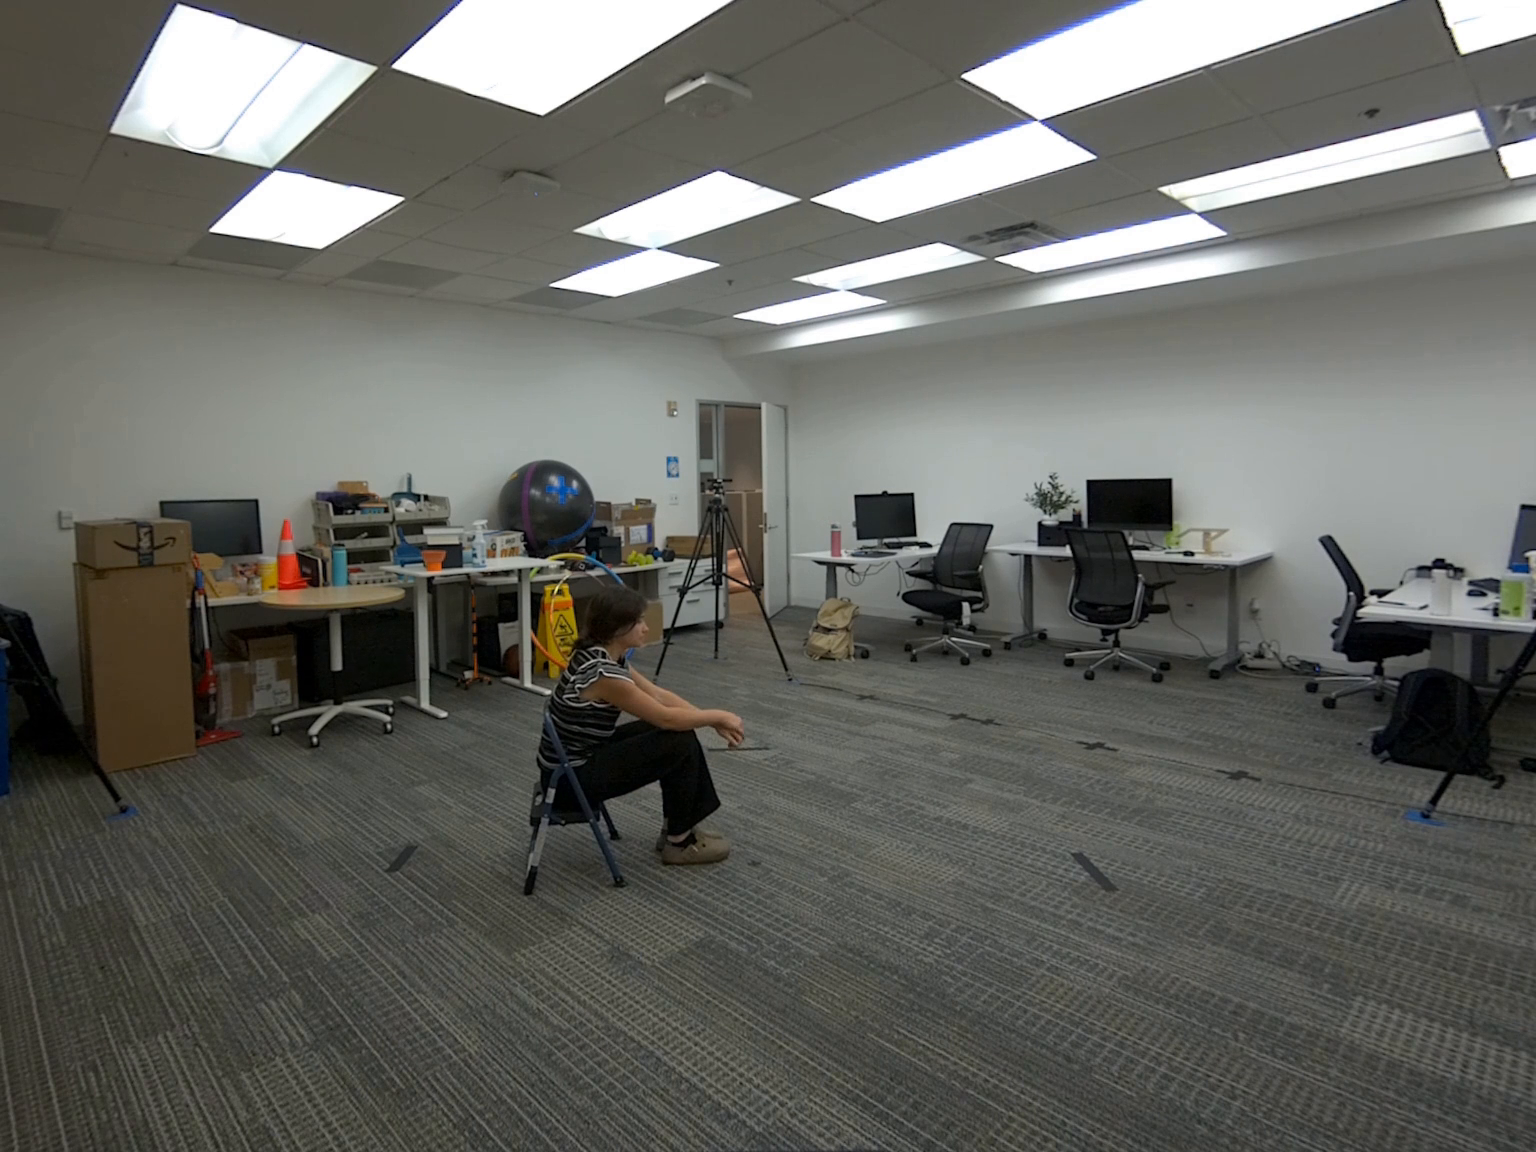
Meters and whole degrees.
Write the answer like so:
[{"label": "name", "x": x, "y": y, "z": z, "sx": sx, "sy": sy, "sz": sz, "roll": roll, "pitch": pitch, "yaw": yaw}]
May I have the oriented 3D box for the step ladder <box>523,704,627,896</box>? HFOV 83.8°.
[{"label": "step ladder", "x": -0.706, "y": 0.763, "z": 3.106, "sx": 0.346, "sy": 0.604, "sz": 0.436, "roll": -2, "pitch": 3, "yaw": -12}]
